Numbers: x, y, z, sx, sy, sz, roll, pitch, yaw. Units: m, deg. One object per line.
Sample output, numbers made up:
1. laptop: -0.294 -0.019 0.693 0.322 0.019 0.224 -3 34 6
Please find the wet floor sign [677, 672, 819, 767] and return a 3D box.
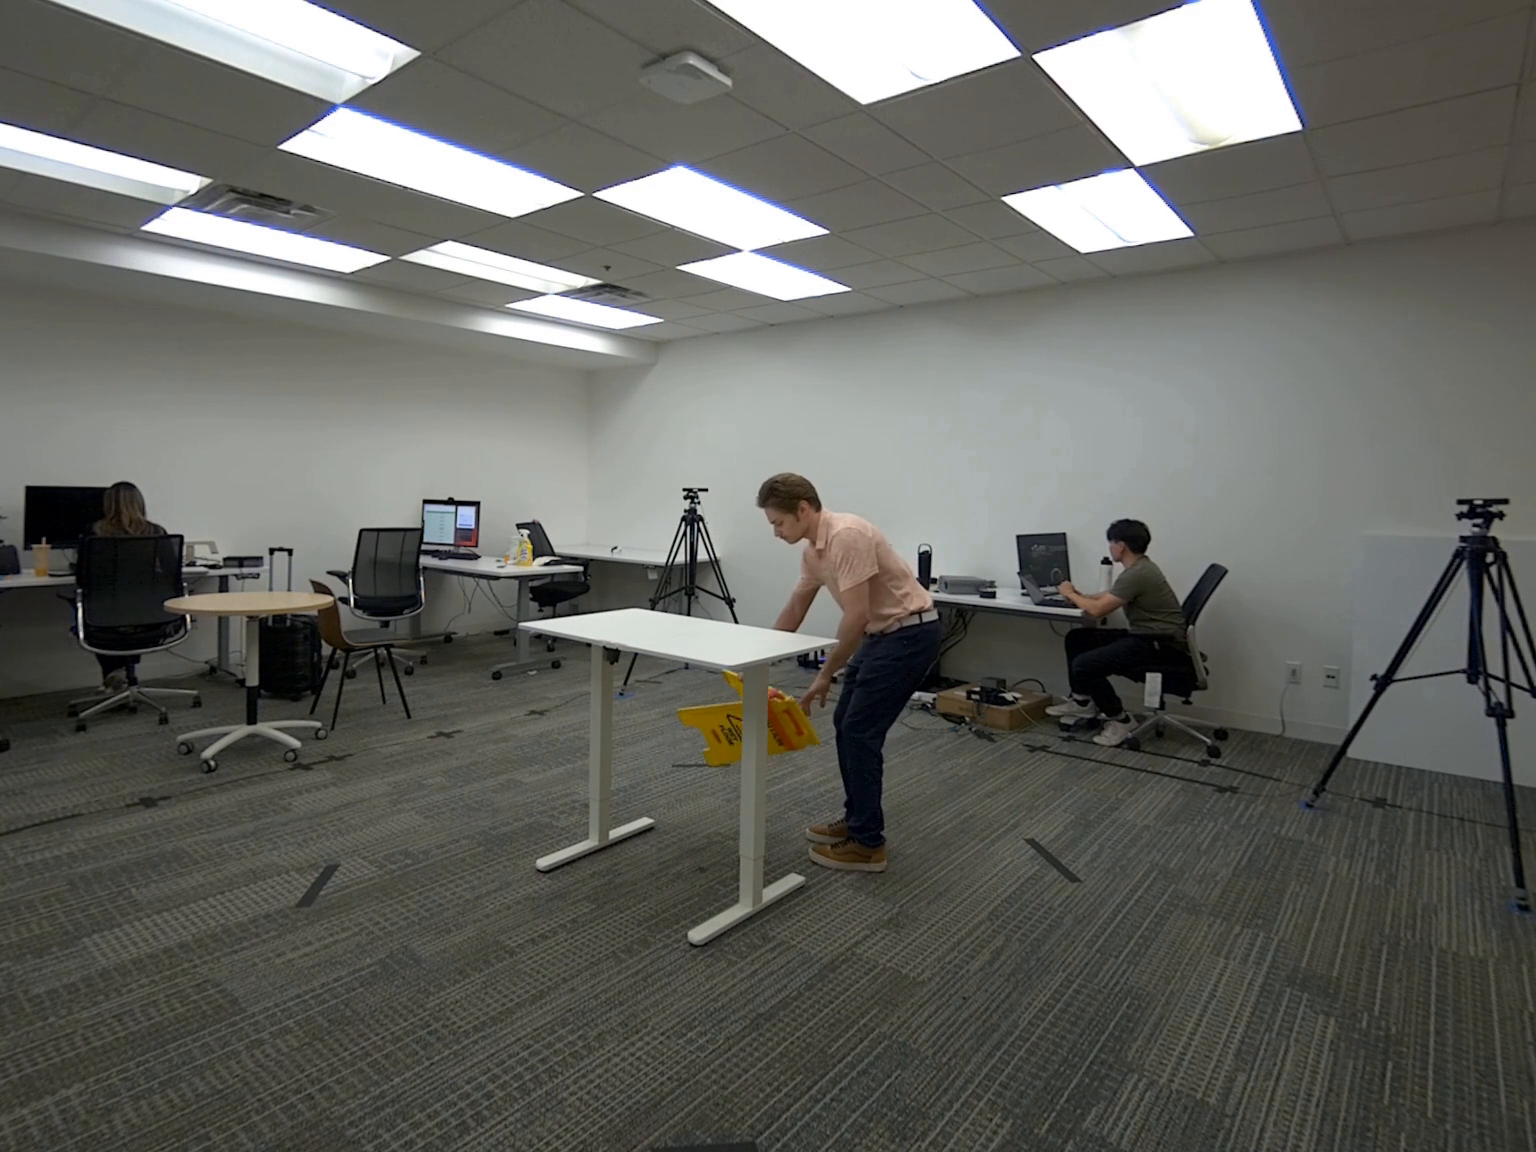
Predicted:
1. wet floor sign: -0.053 0.555 3.310 0.287 0.279 0.660 -37 13 -32
